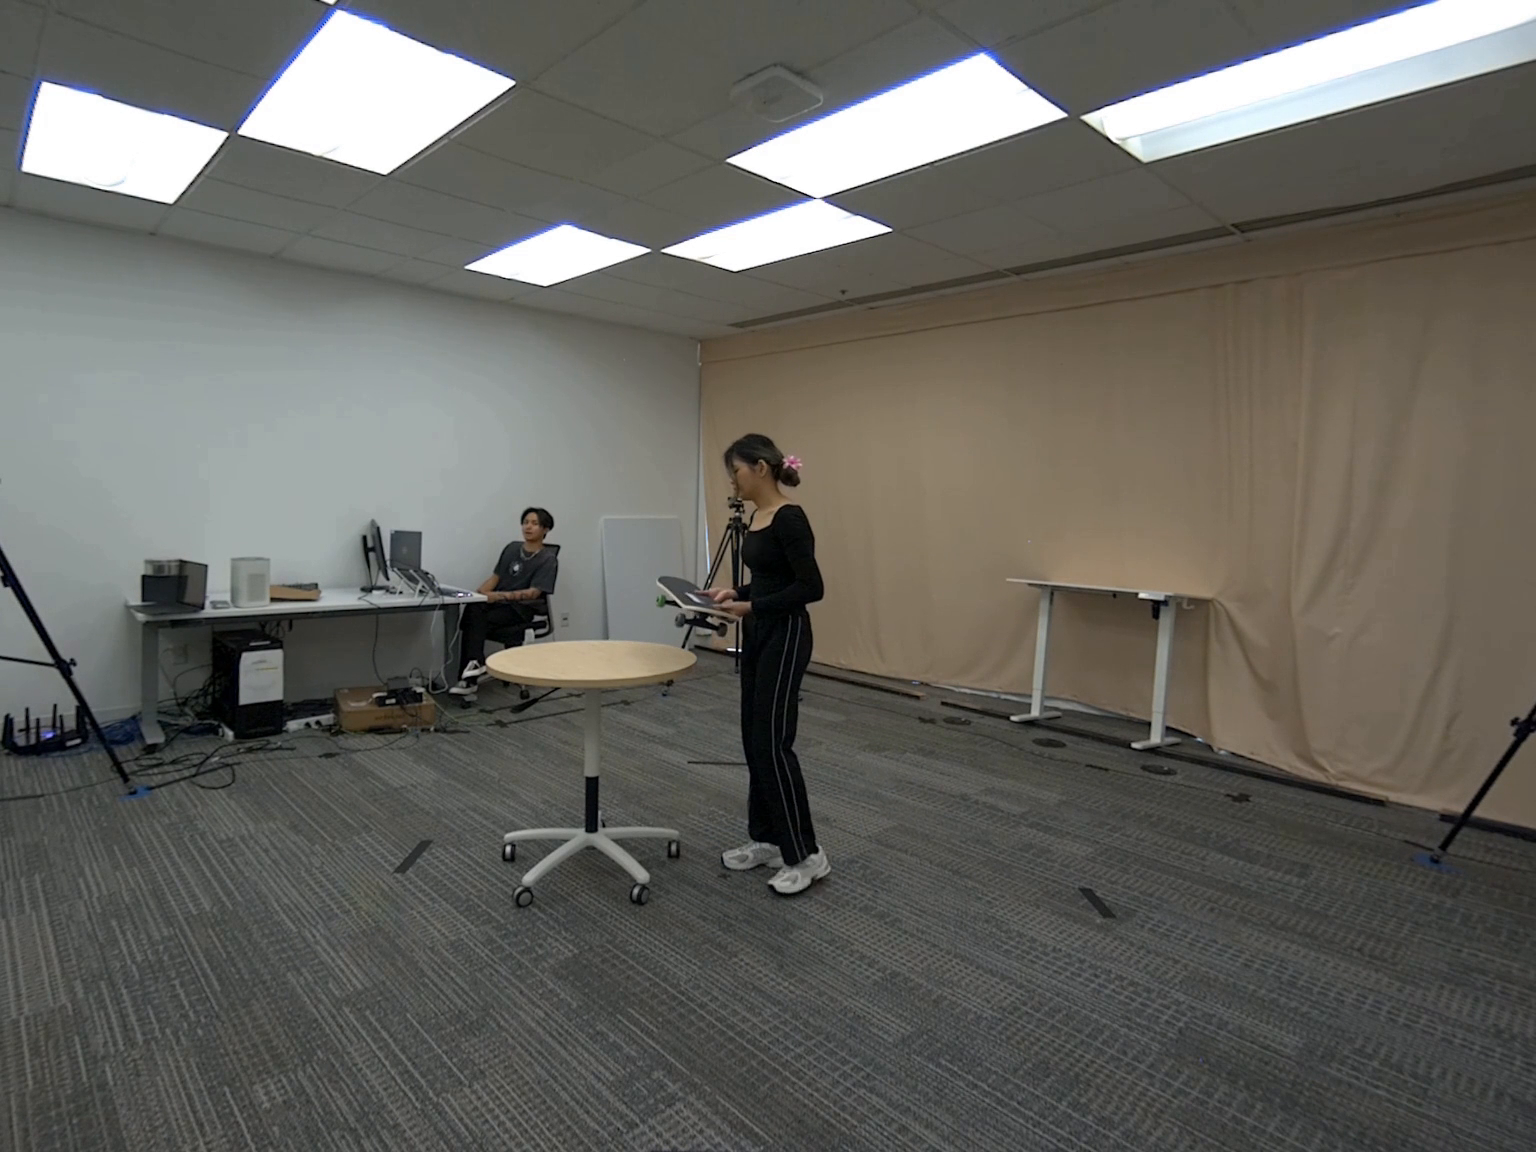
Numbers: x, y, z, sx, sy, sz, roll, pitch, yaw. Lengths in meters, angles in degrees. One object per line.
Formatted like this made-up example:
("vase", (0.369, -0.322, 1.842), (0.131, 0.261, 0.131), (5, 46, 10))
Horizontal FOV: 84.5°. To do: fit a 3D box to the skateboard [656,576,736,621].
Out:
("skateboard", (-0.289, 0.114, 3.113), (0.190, 0.110, 0.799), (8, 4, -19))
